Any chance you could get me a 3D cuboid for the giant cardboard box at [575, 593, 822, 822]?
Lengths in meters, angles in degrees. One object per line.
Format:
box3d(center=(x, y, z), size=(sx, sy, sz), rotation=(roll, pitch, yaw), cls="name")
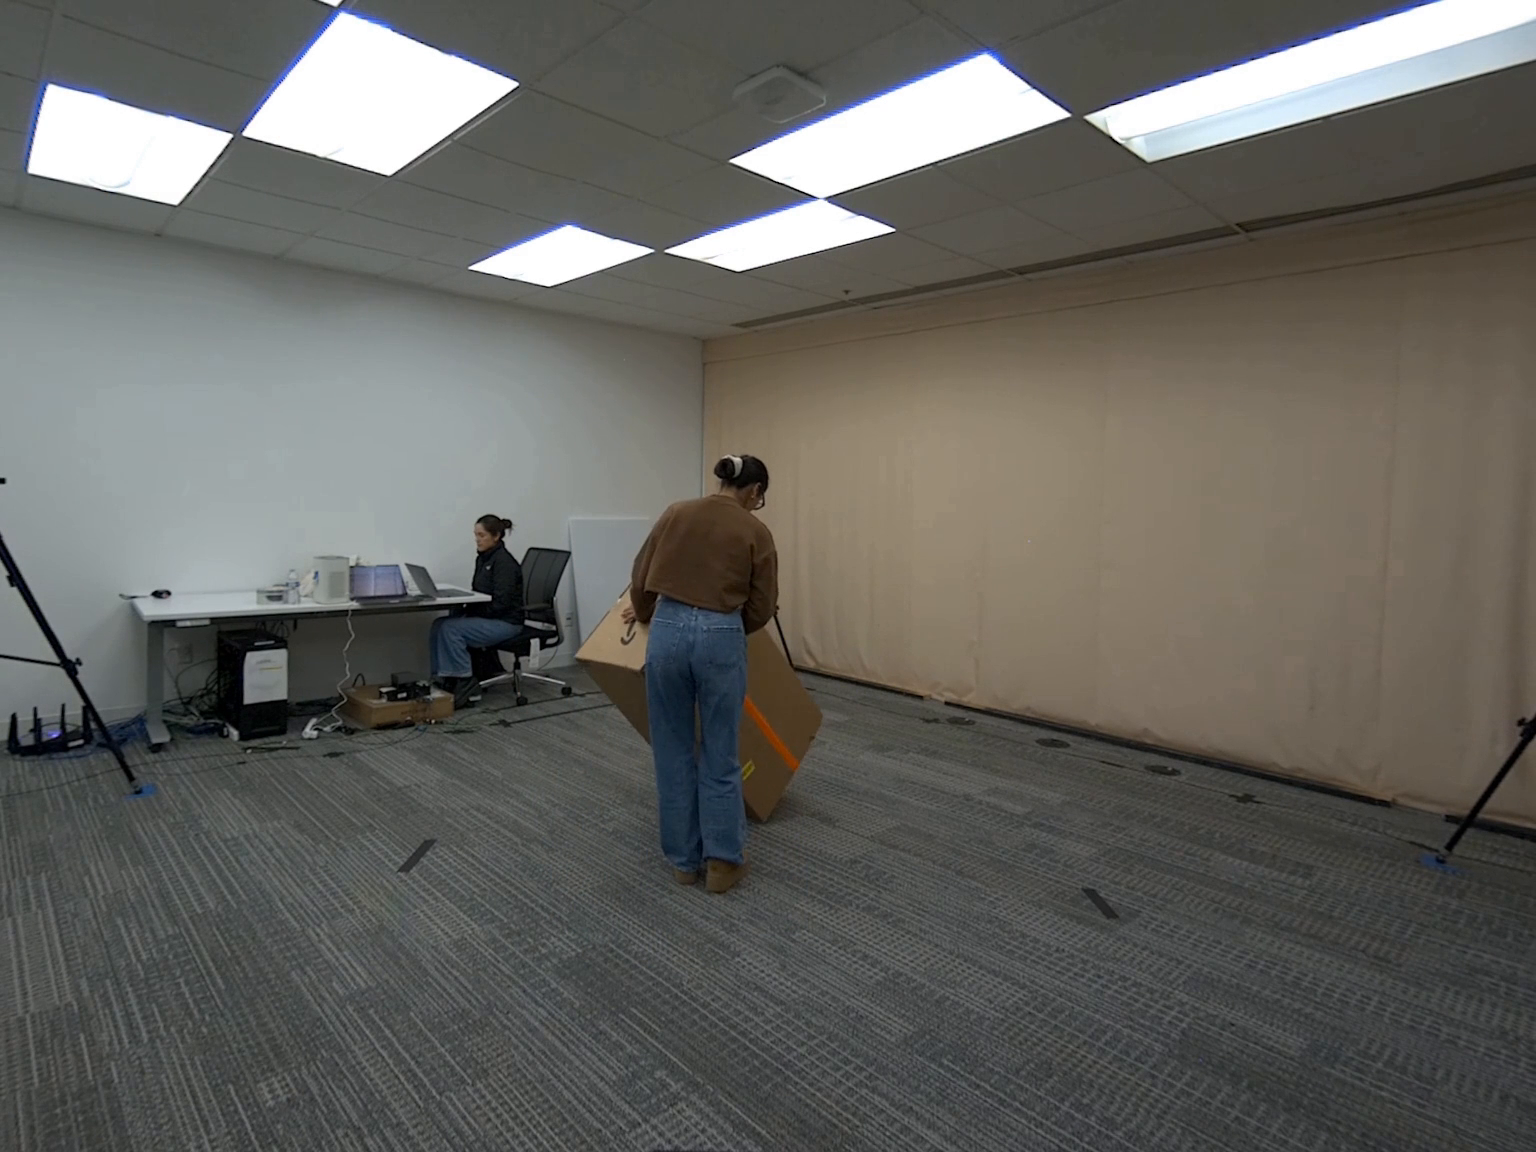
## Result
box3d(center=(-0.258, 0.490, 3.640), size=(0.437, 0.998, 0.579), rotation=(4, 47, 44), cls="giant cardboard box")
